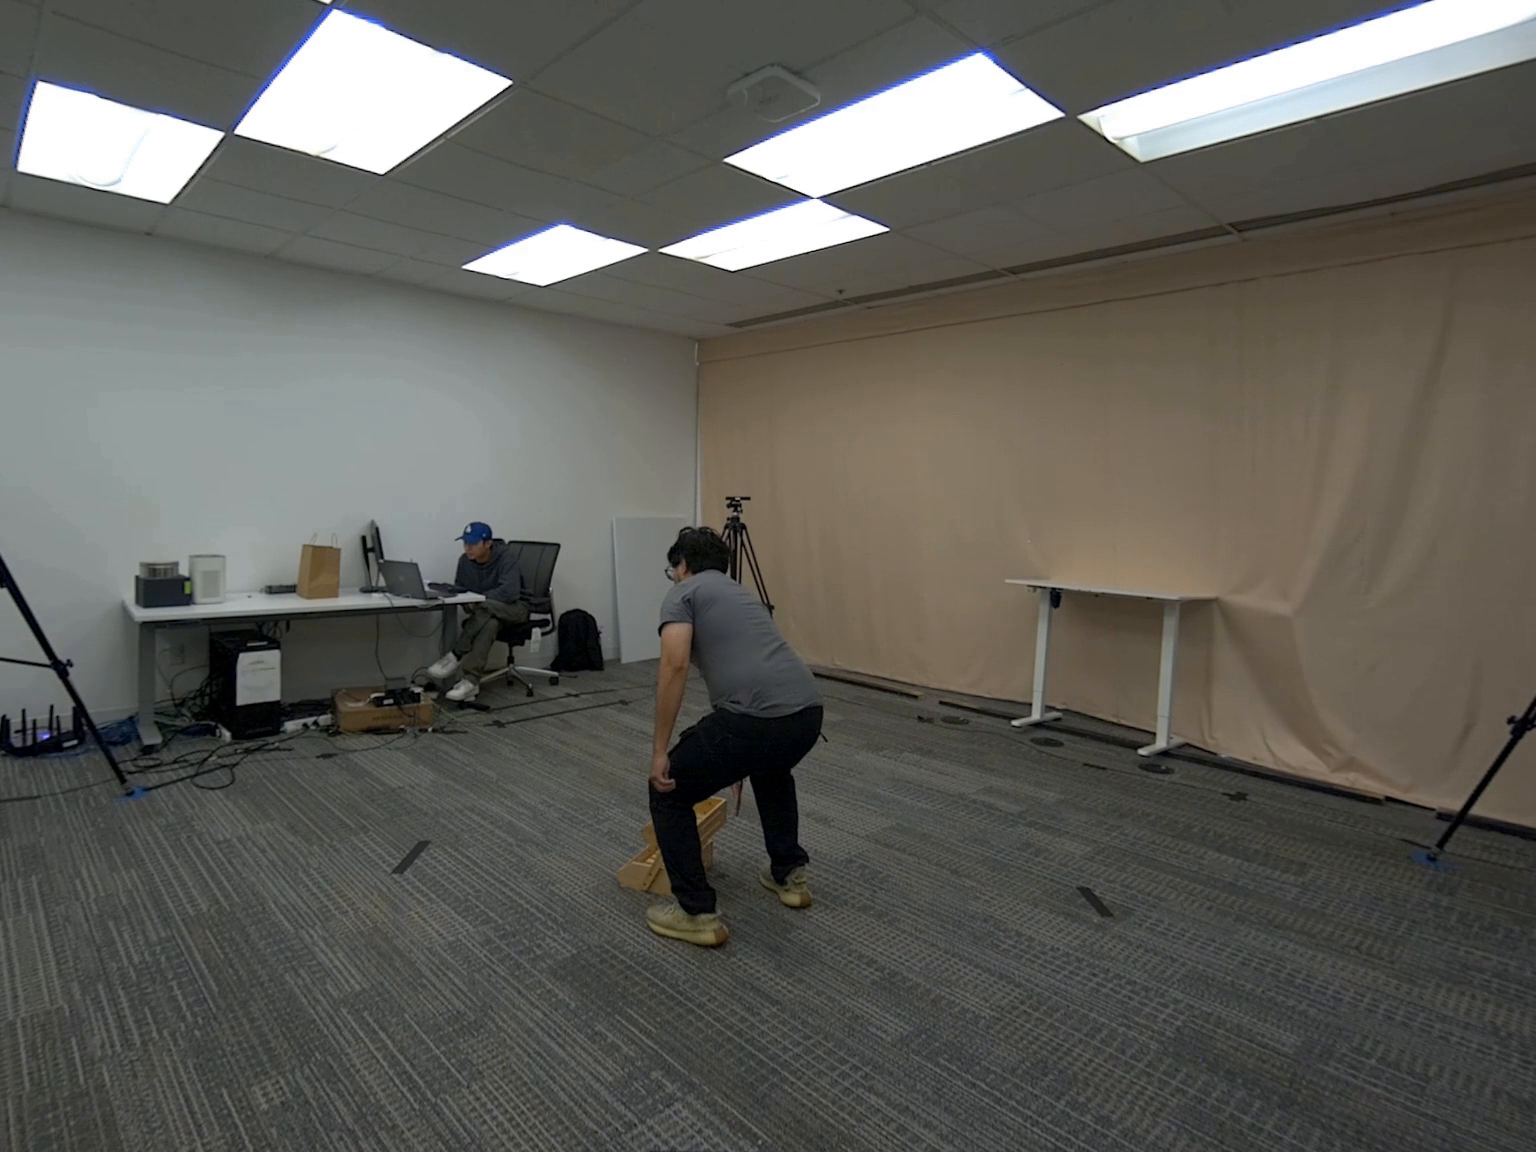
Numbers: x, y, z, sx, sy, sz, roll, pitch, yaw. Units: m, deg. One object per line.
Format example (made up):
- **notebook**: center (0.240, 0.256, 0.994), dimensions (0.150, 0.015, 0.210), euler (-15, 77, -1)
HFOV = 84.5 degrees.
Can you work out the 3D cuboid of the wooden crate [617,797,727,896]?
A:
- **wooden crate**: center (-0.357, 0.966, 3.085), dimensions (0.307, 0.272, 0.320), euler (4, 6, 19)
